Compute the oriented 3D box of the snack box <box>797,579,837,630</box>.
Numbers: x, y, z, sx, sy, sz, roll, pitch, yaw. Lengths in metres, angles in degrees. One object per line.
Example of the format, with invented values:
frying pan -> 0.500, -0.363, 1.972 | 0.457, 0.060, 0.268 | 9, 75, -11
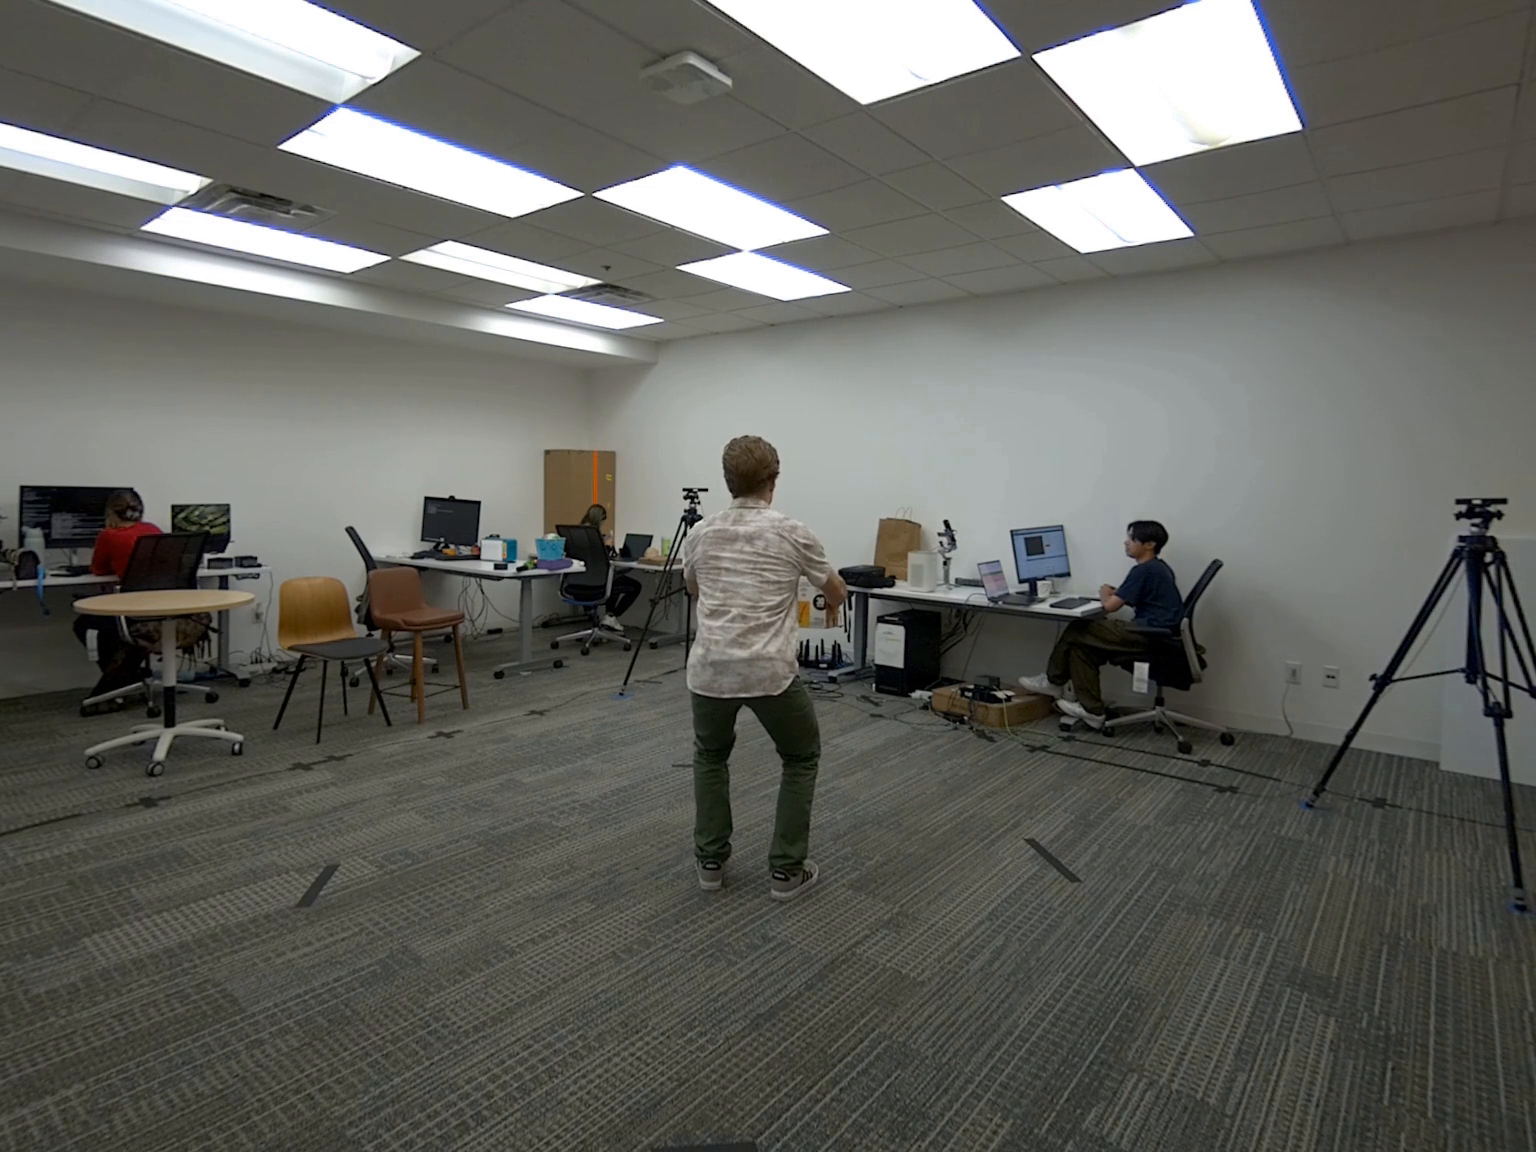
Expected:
snack box -> 0.064, 0.104, 3.563 | 0.412, 0.206, 0.334 | 2, -2, 14
